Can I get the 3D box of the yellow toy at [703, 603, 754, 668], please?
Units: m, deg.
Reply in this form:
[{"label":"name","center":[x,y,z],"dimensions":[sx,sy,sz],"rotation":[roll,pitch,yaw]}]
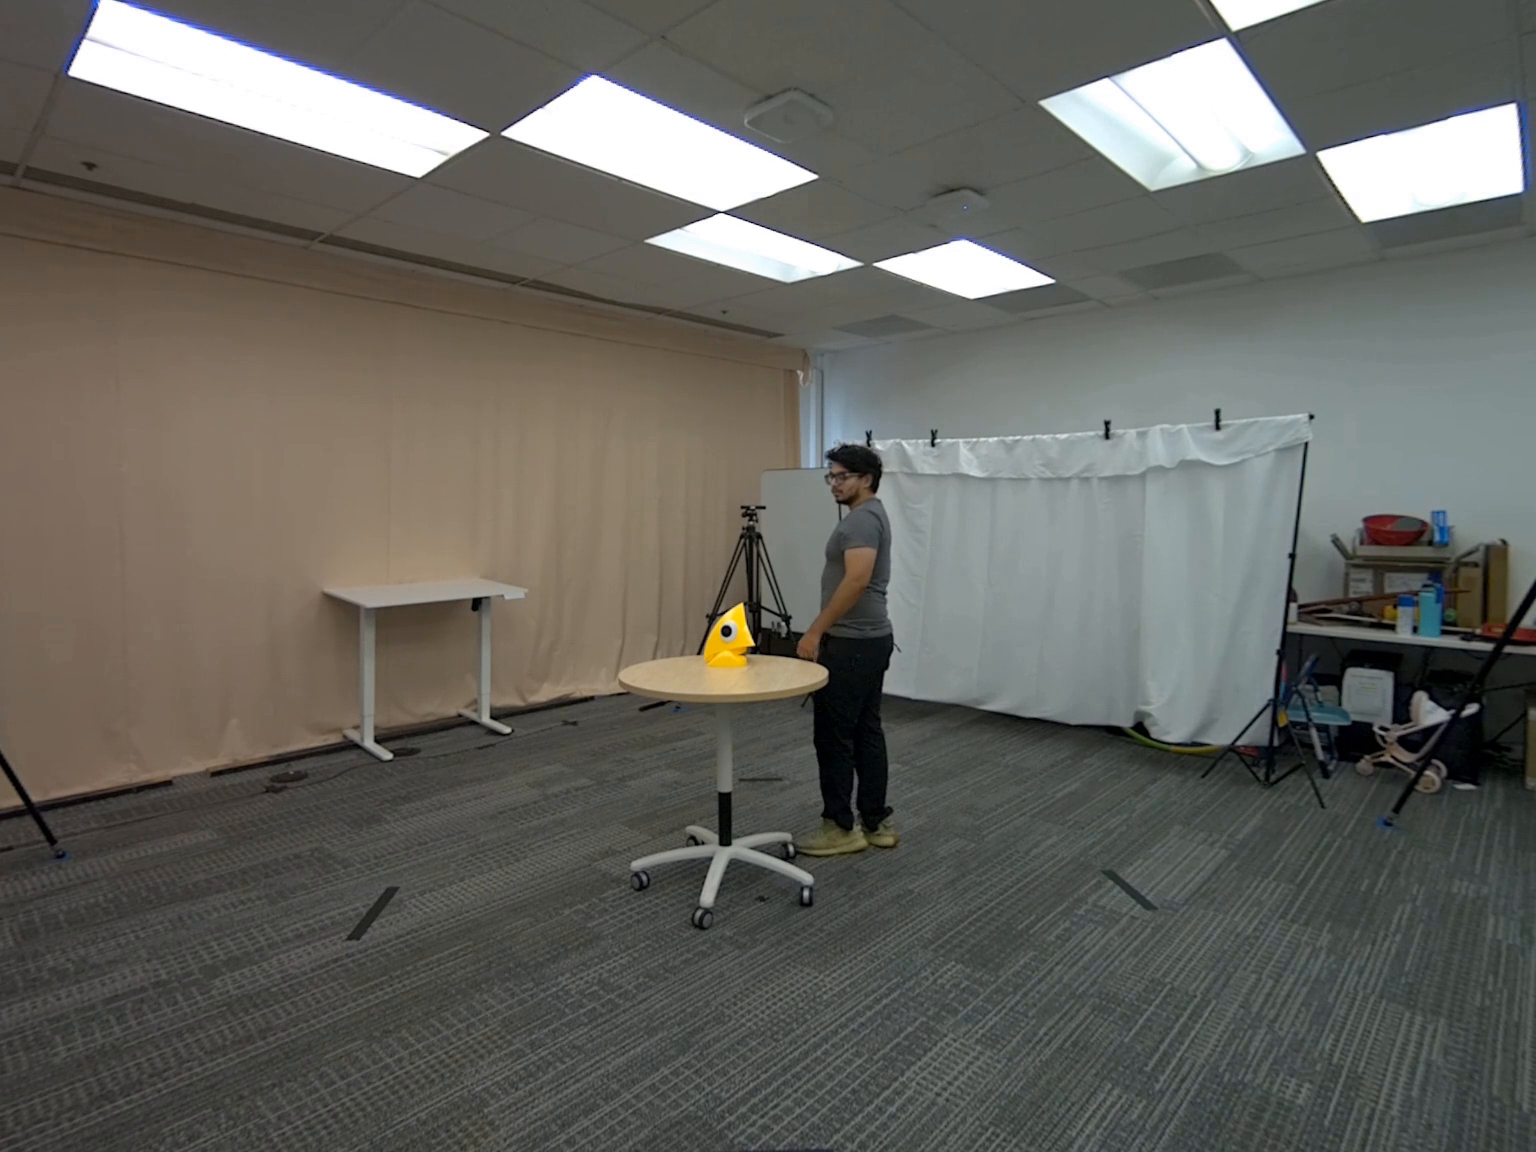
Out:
[{"label":"yellow toy","center":[-0.157,0.223,3.280],"dimensions":[0.191,0.230,0.207],"rotation":[0,3,-8]}]
